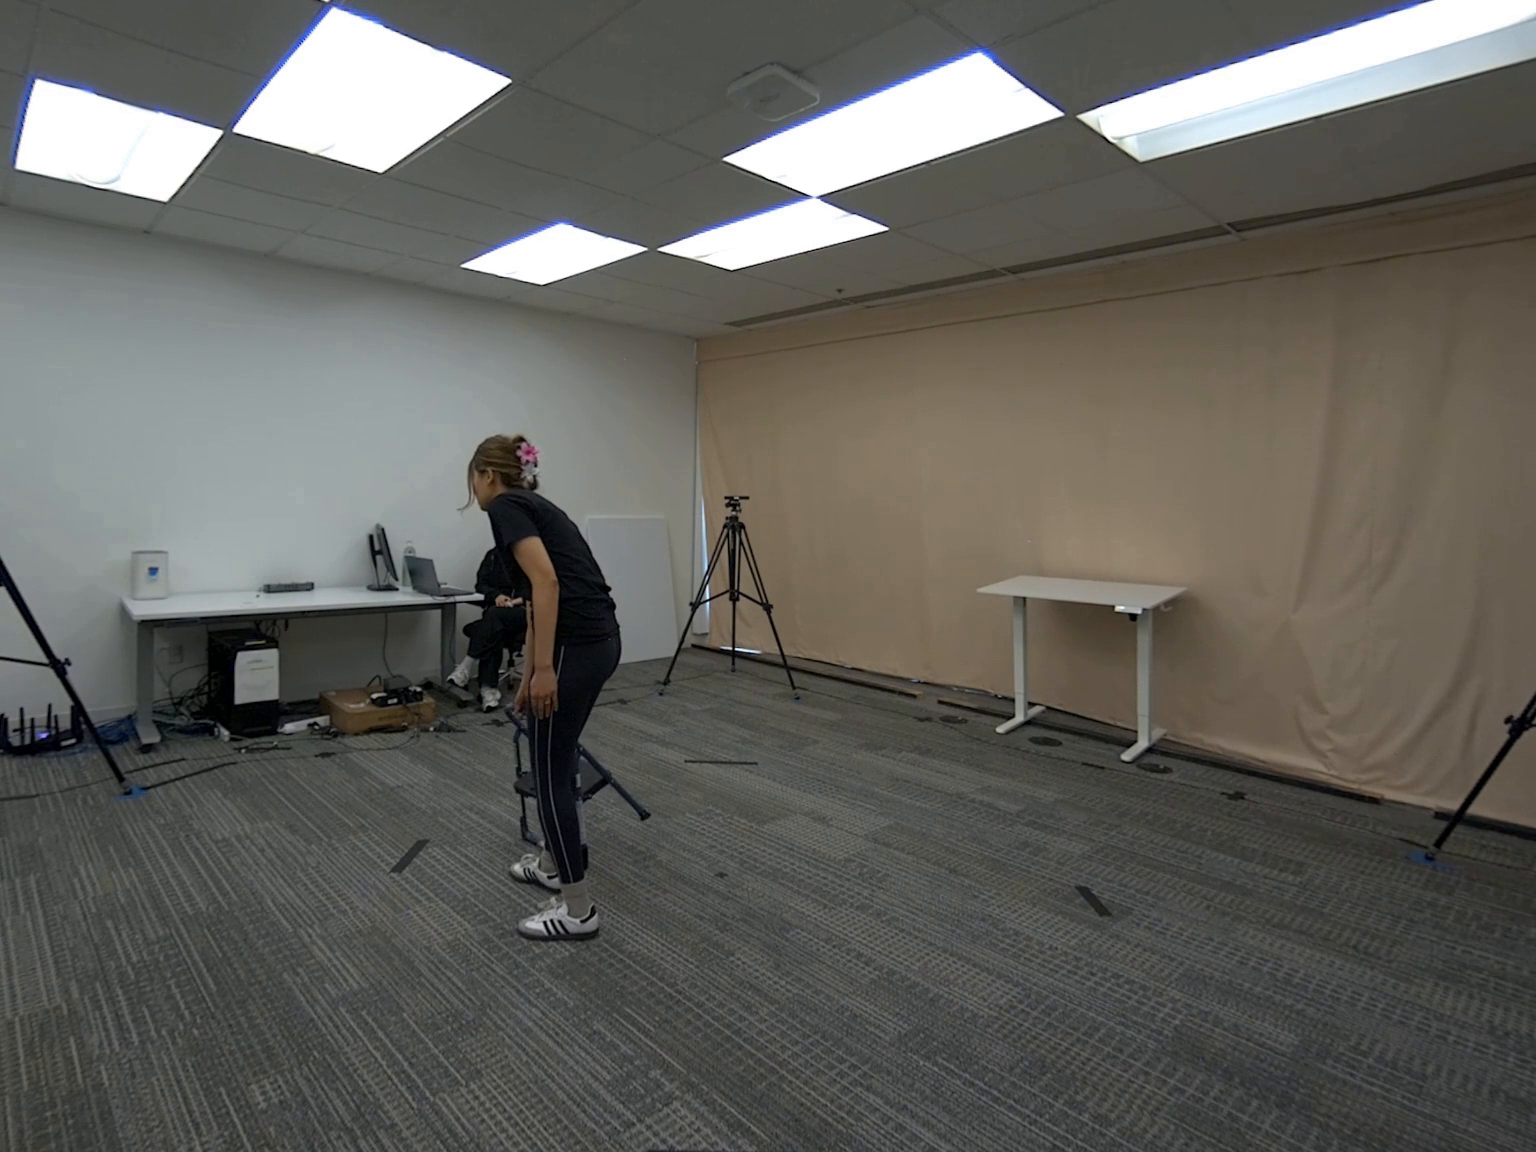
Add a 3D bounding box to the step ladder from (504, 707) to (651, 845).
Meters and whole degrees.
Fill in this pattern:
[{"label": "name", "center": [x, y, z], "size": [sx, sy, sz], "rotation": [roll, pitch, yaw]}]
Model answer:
[{"label": "step ladder", "center": [-0.802, 0.736, 3.270], "size": [0.441, 0.596, 0.346], "rotation": [4, 26, 42]}]
